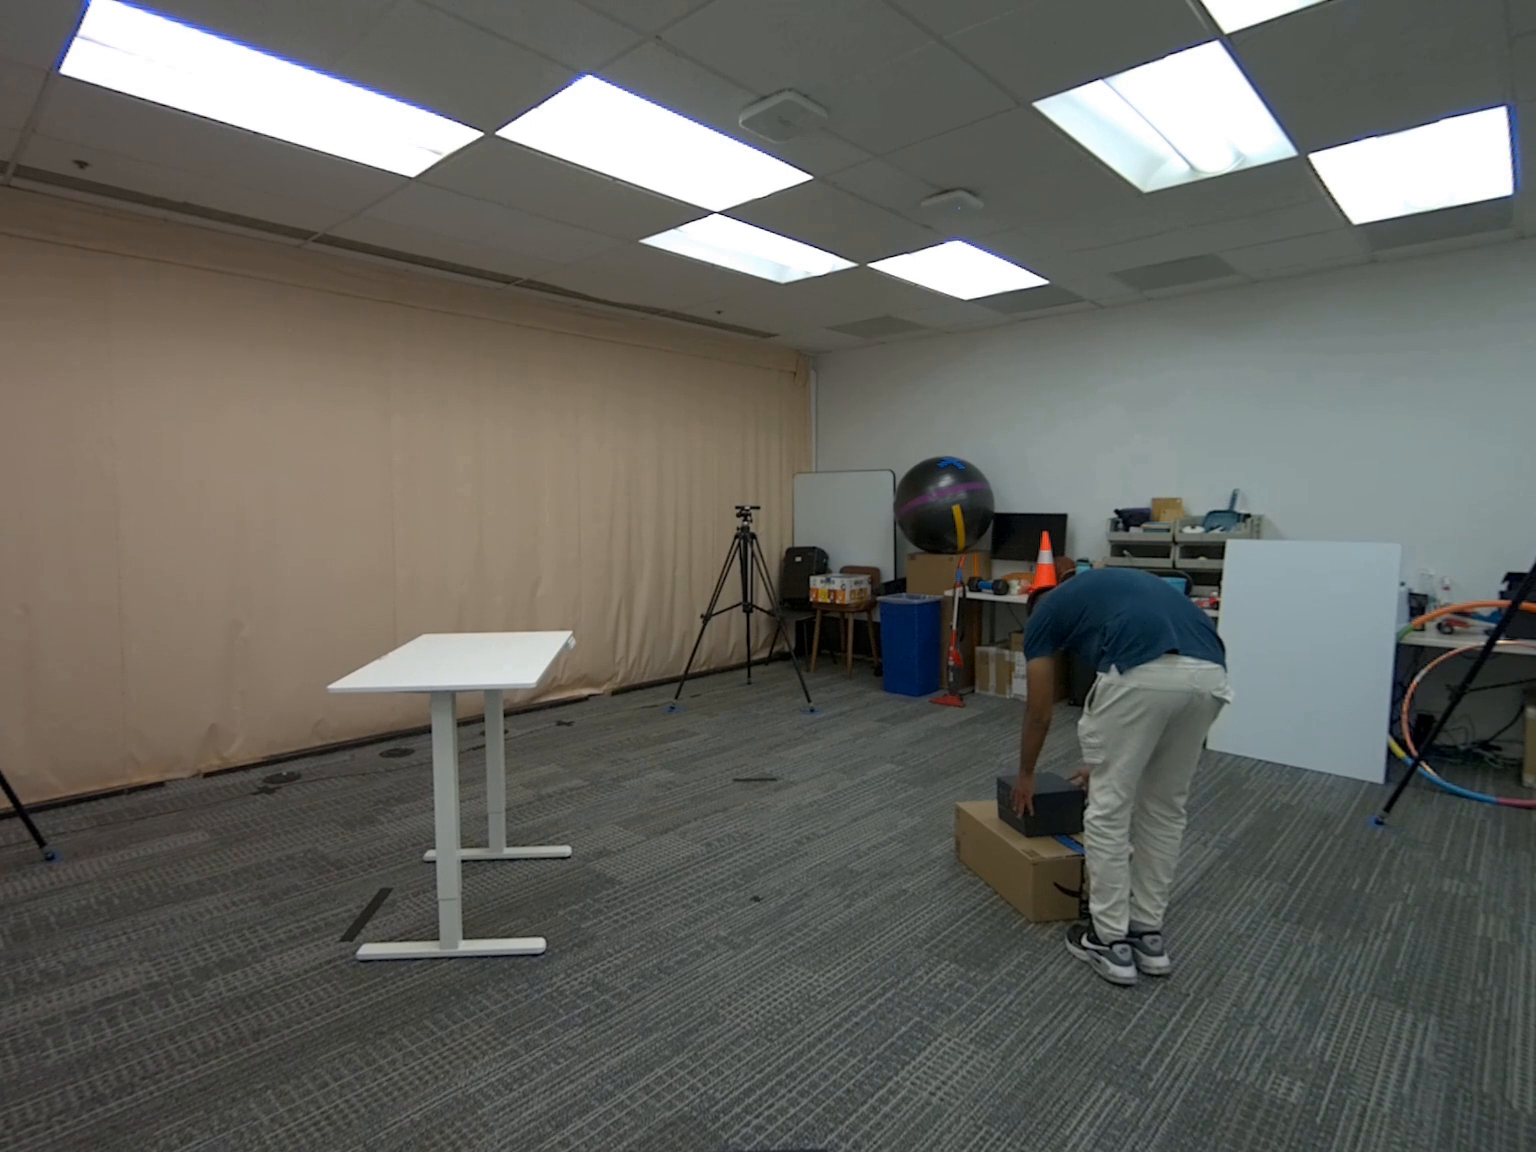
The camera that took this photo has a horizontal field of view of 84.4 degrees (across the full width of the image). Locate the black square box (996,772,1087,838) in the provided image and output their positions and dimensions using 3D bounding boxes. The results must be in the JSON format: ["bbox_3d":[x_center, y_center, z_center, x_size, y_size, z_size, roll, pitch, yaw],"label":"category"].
[{"bbox_3d":[1.004,0.833,3.088,0.225,0.155,0.220,-2,4,-10],"label":"black square box"}]
